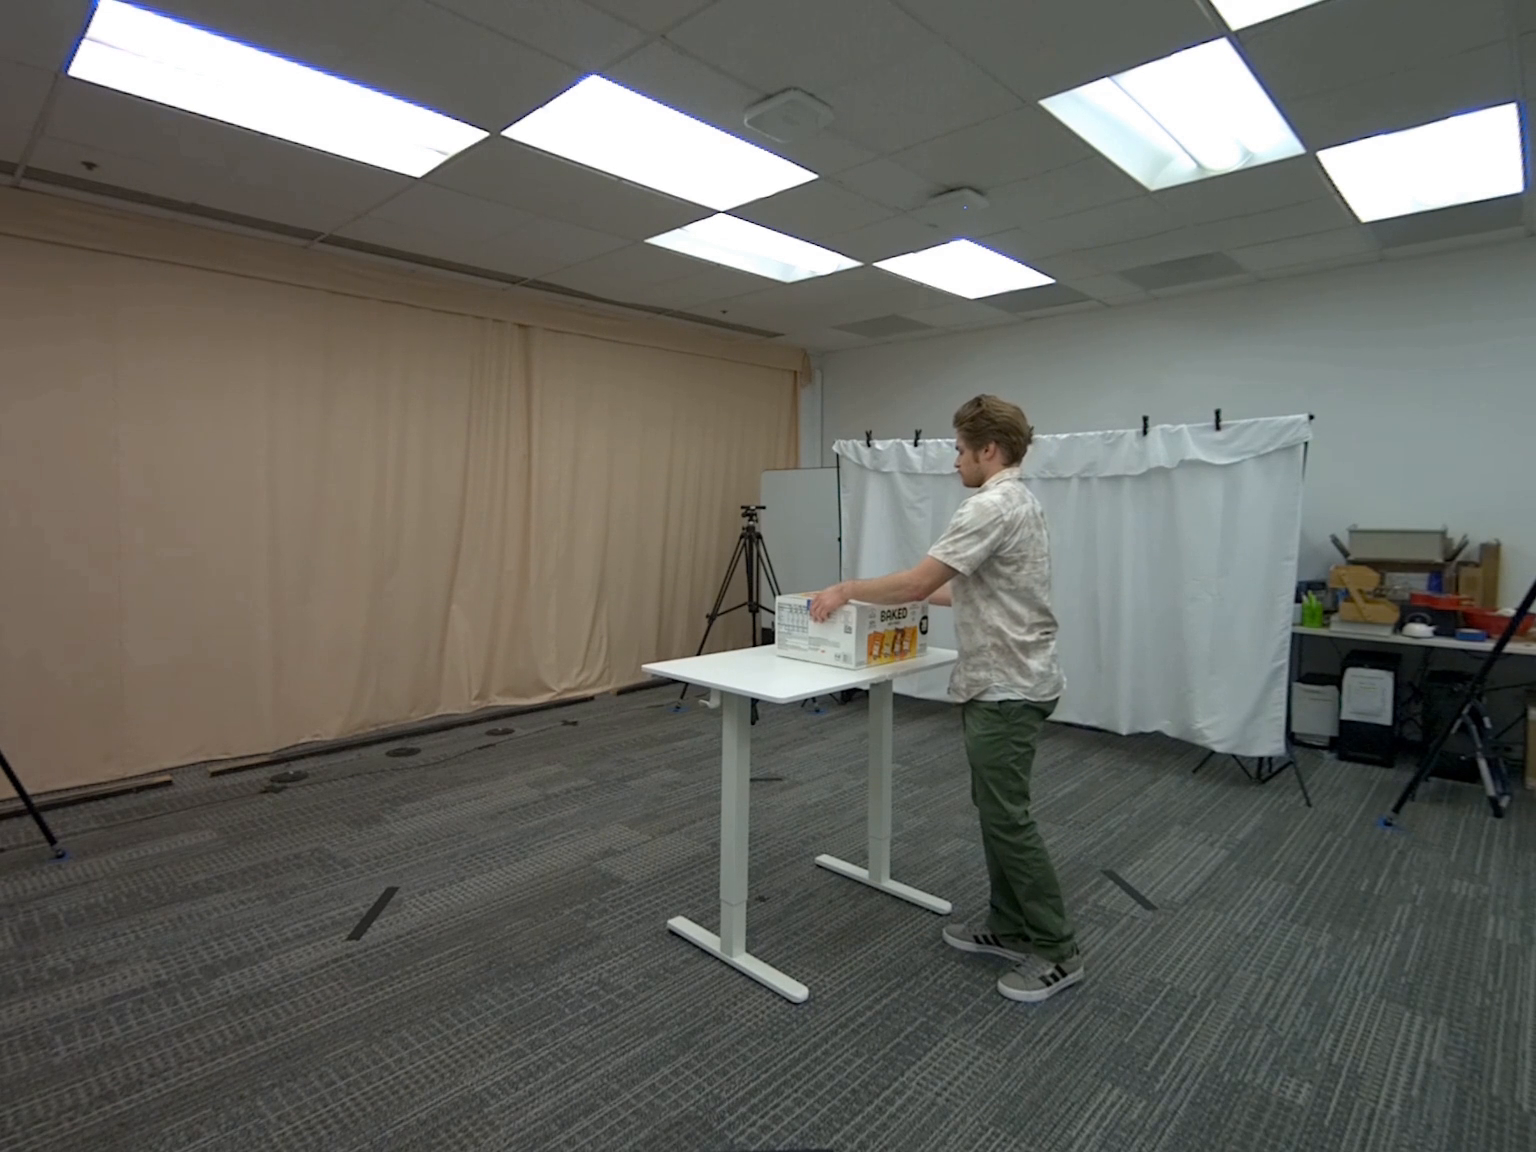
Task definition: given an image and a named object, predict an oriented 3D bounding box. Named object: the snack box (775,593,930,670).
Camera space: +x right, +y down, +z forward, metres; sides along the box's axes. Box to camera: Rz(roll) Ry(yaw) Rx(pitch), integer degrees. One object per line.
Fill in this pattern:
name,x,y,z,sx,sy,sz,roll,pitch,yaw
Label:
snack box,0.289,0.168,2.844,0.352,0.205,0.393,5,6,44
